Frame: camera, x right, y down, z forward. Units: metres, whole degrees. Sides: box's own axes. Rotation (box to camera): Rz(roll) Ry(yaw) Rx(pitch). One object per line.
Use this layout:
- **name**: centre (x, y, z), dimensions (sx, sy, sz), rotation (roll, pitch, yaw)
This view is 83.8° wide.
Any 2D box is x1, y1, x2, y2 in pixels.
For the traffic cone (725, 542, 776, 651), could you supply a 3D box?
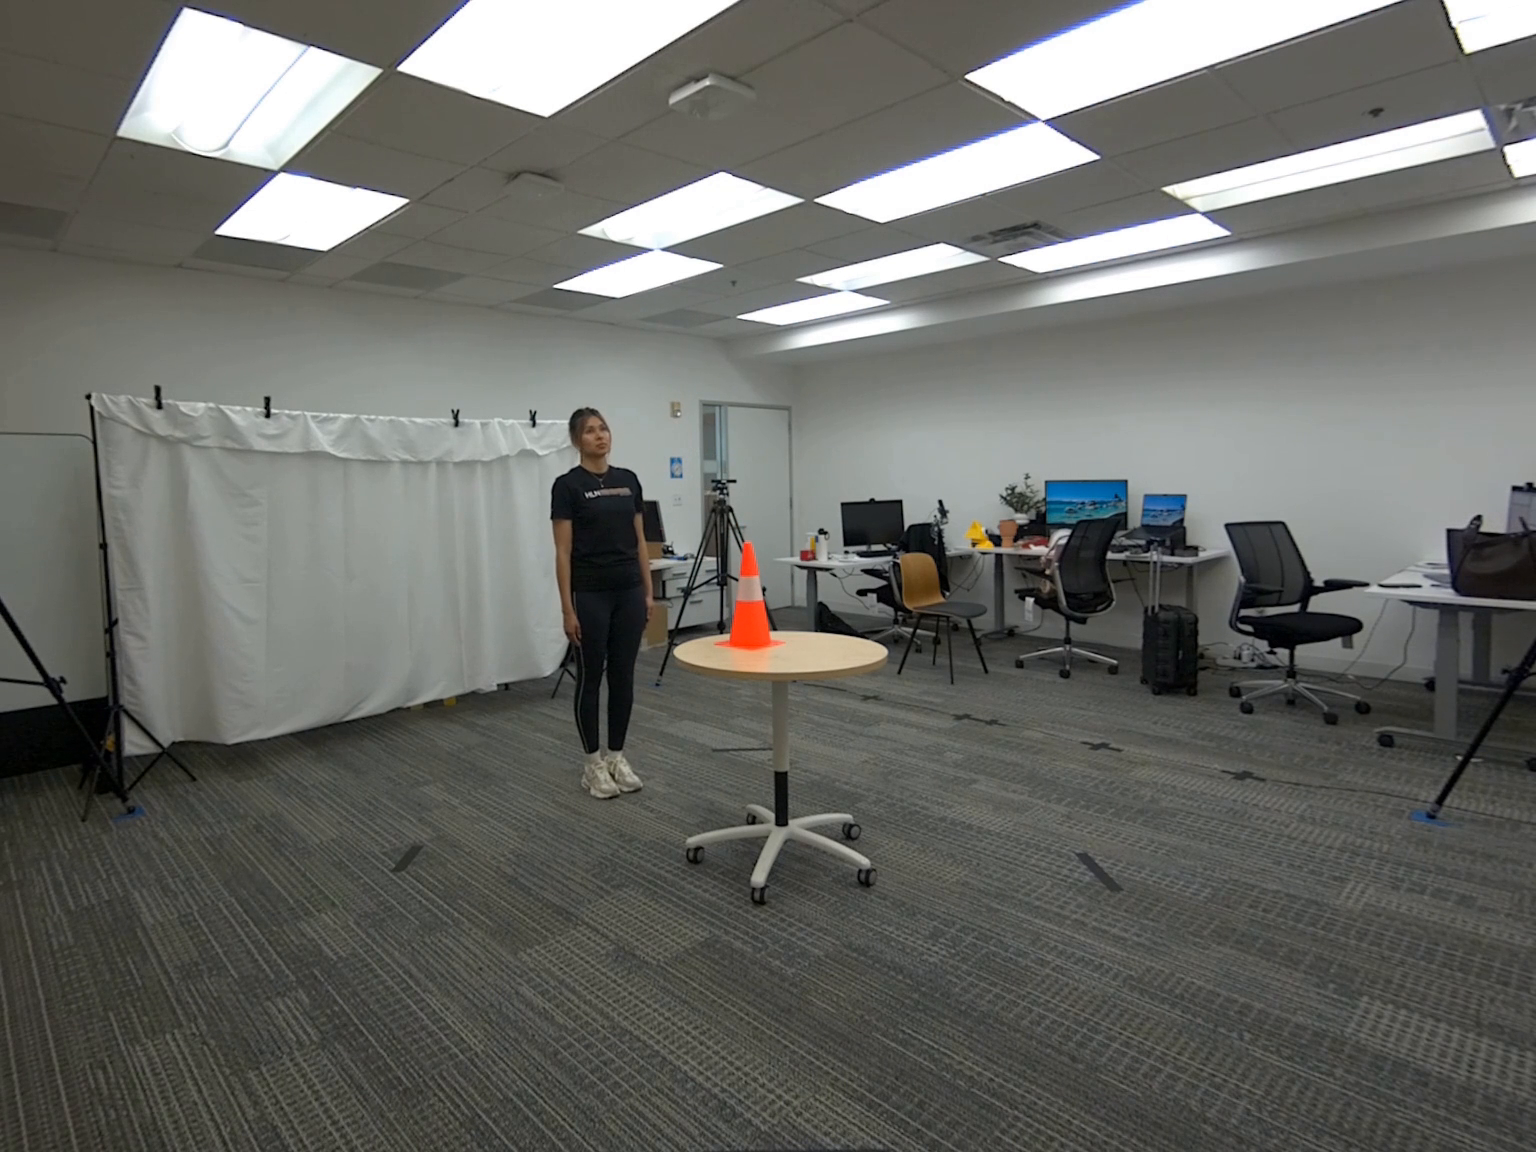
- **traffic cone**: centre (-0.071, 0.068, 3.197), dimensions (0.211, 0.383, 0.198), rotation (0, 2, 35)
